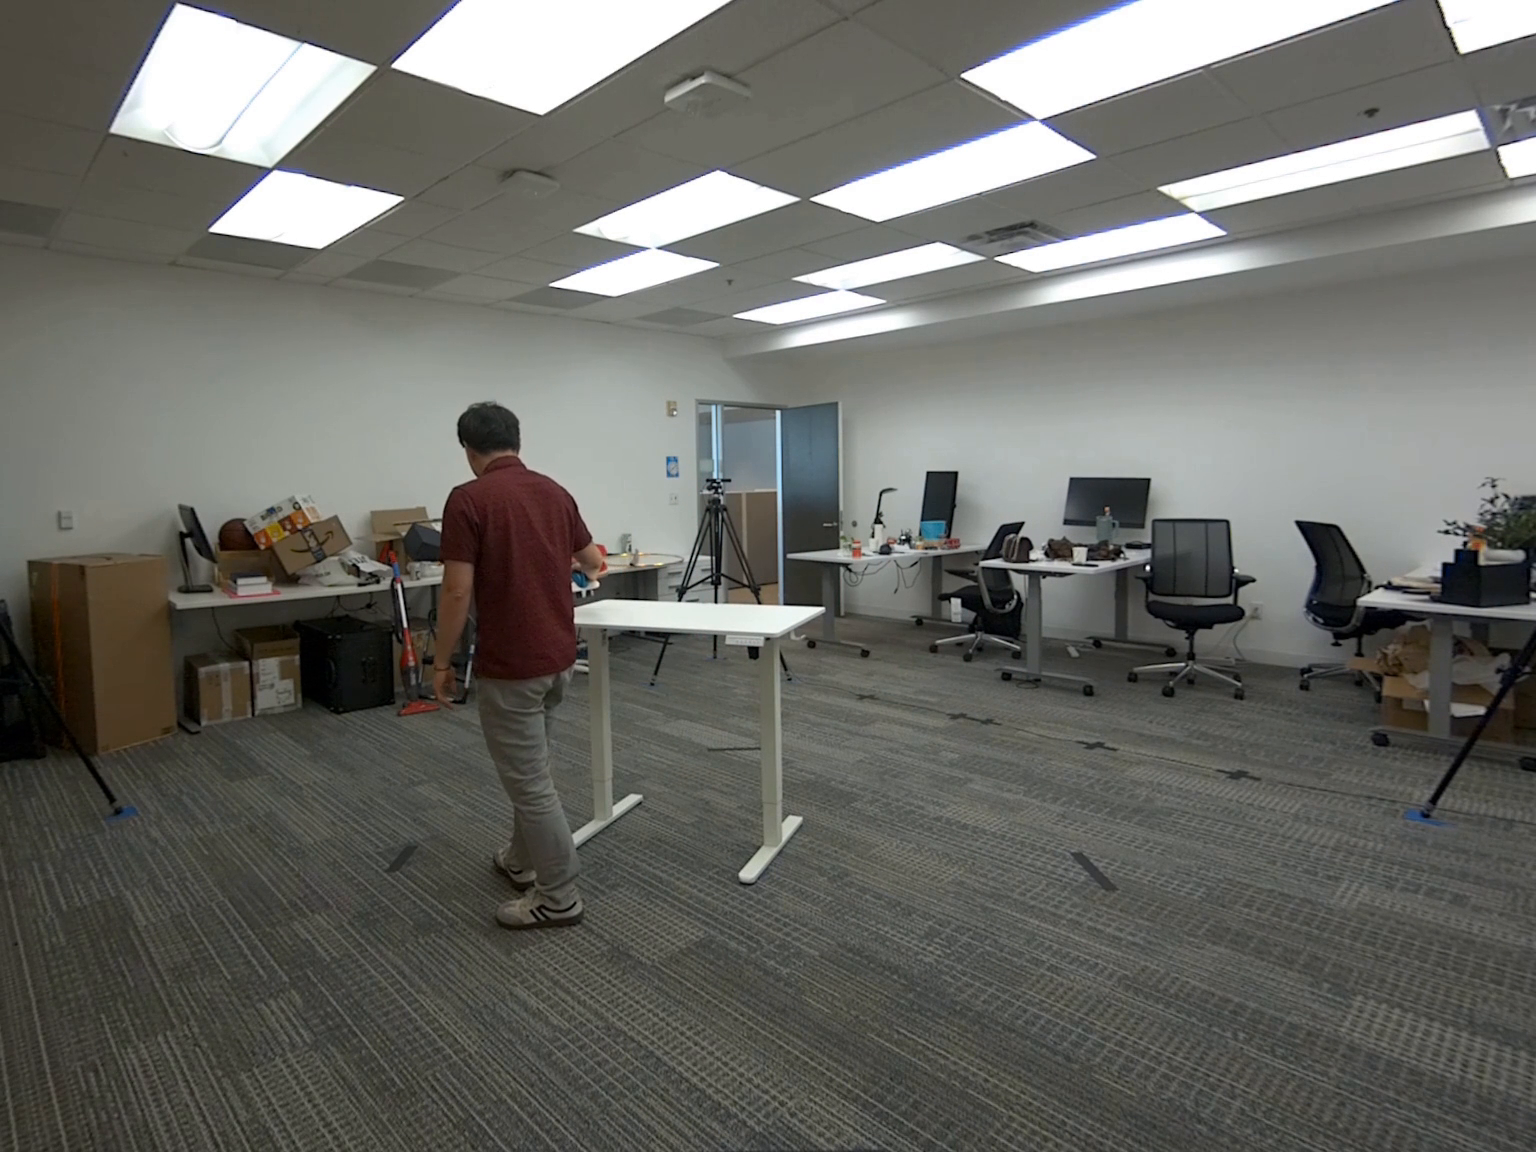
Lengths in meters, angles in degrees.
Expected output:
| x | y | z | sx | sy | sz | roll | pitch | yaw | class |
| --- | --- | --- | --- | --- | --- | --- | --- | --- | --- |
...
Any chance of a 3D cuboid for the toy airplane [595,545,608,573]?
| x | y | z | sx | sy | sz | roll | pitch | yaw | class |
| --- | --- | --- | --- | --- | --- | --- | --- | --- | --- |
| -0.736 | -0.024 | 3.369 | 0.268 | 0.153 | 0.247 | 19 | 29 | 36 | toy airplane |
